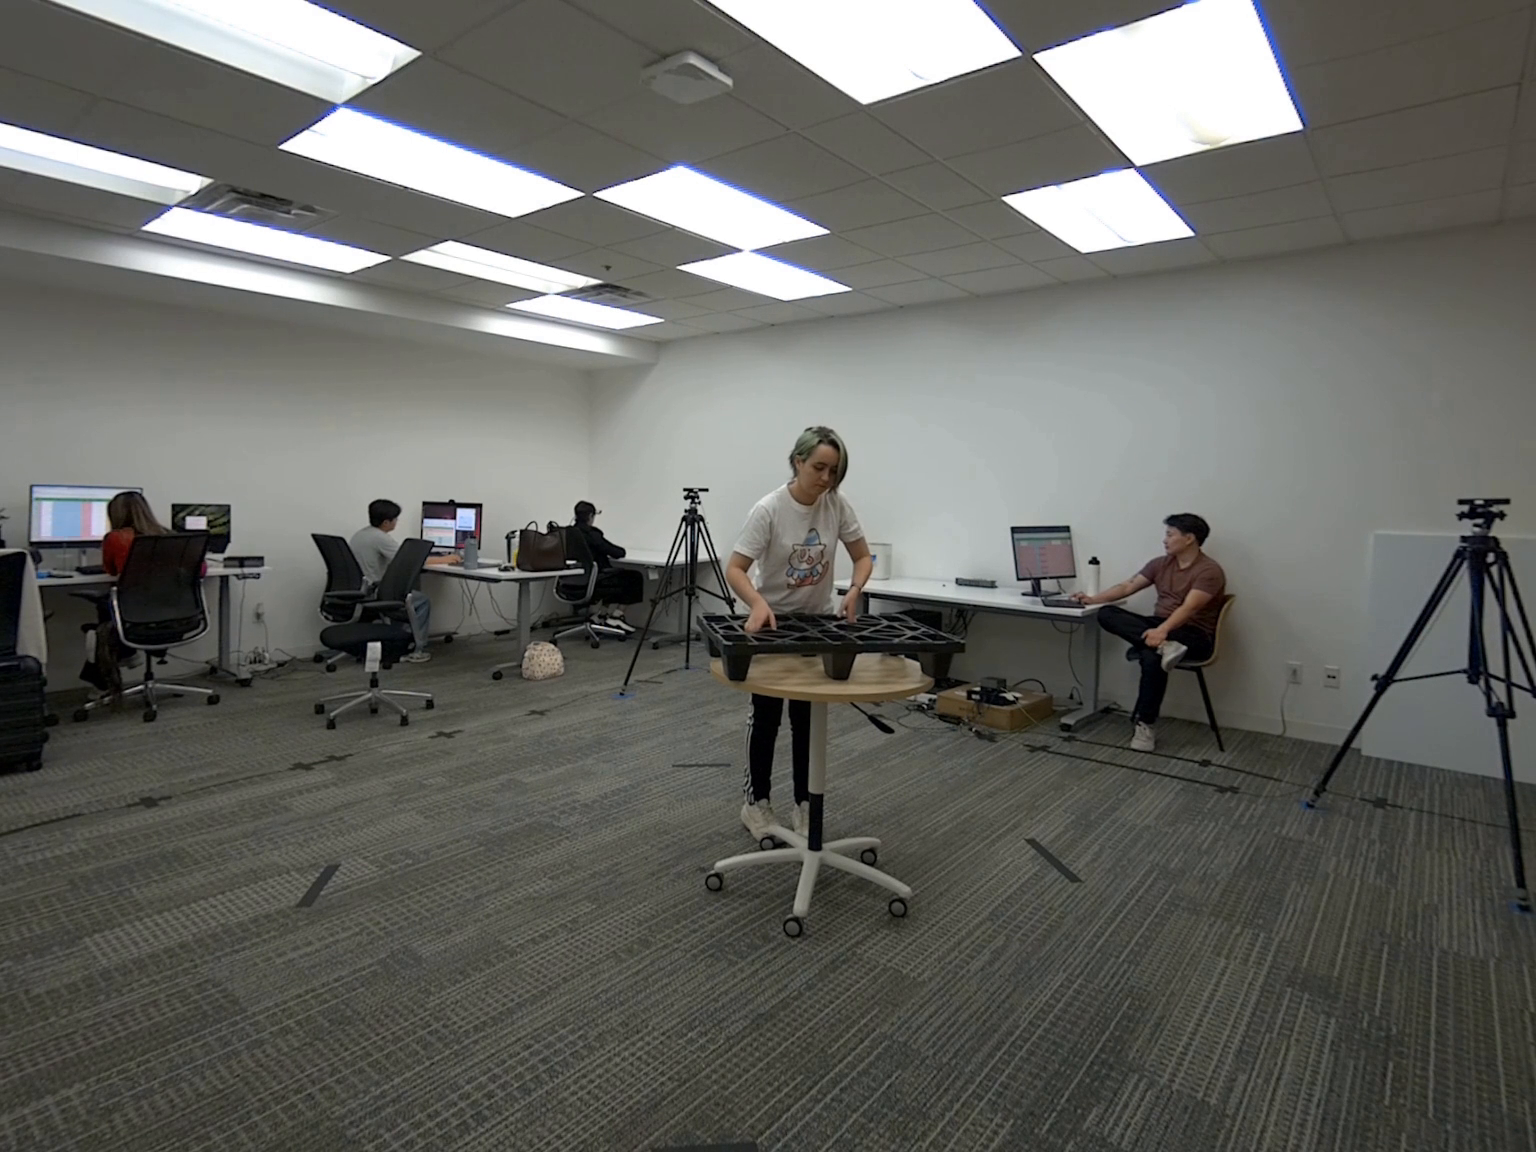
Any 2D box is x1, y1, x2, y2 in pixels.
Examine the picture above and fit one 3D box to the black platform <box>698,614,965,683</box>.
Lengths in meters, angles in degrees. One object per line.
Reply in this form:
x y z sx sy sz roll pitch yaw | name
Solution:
0.172 0.240 2.965 0.797 0.143 0.614 1 6 -10 | black platform
